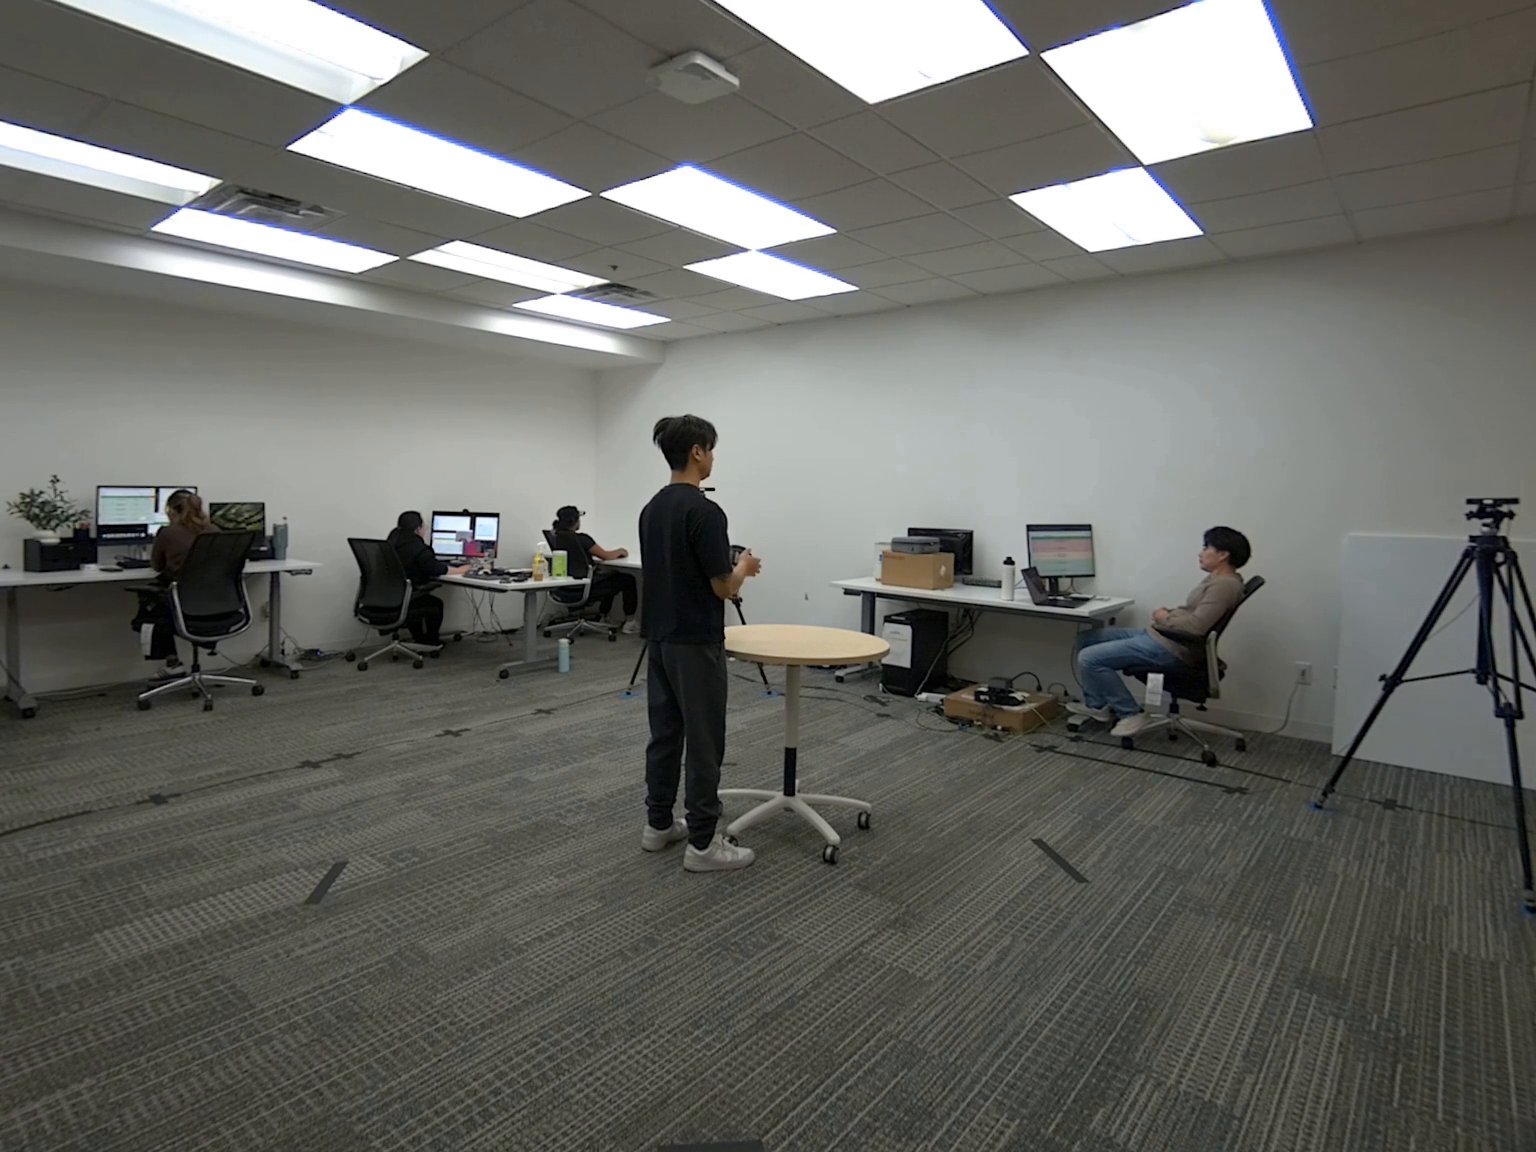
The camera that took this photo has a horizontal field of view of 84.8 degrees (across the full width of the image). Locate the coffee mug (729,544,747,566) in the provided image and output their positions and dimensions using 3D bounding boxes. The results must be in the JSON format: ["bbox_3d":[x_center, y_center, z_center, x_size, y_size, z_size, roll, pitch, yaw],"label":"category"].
[{"bbox_3d":[-0.153,-0.015,3.380,0.089,0.204,0.119,14,-8,14],"label":"coffee mug"}]
